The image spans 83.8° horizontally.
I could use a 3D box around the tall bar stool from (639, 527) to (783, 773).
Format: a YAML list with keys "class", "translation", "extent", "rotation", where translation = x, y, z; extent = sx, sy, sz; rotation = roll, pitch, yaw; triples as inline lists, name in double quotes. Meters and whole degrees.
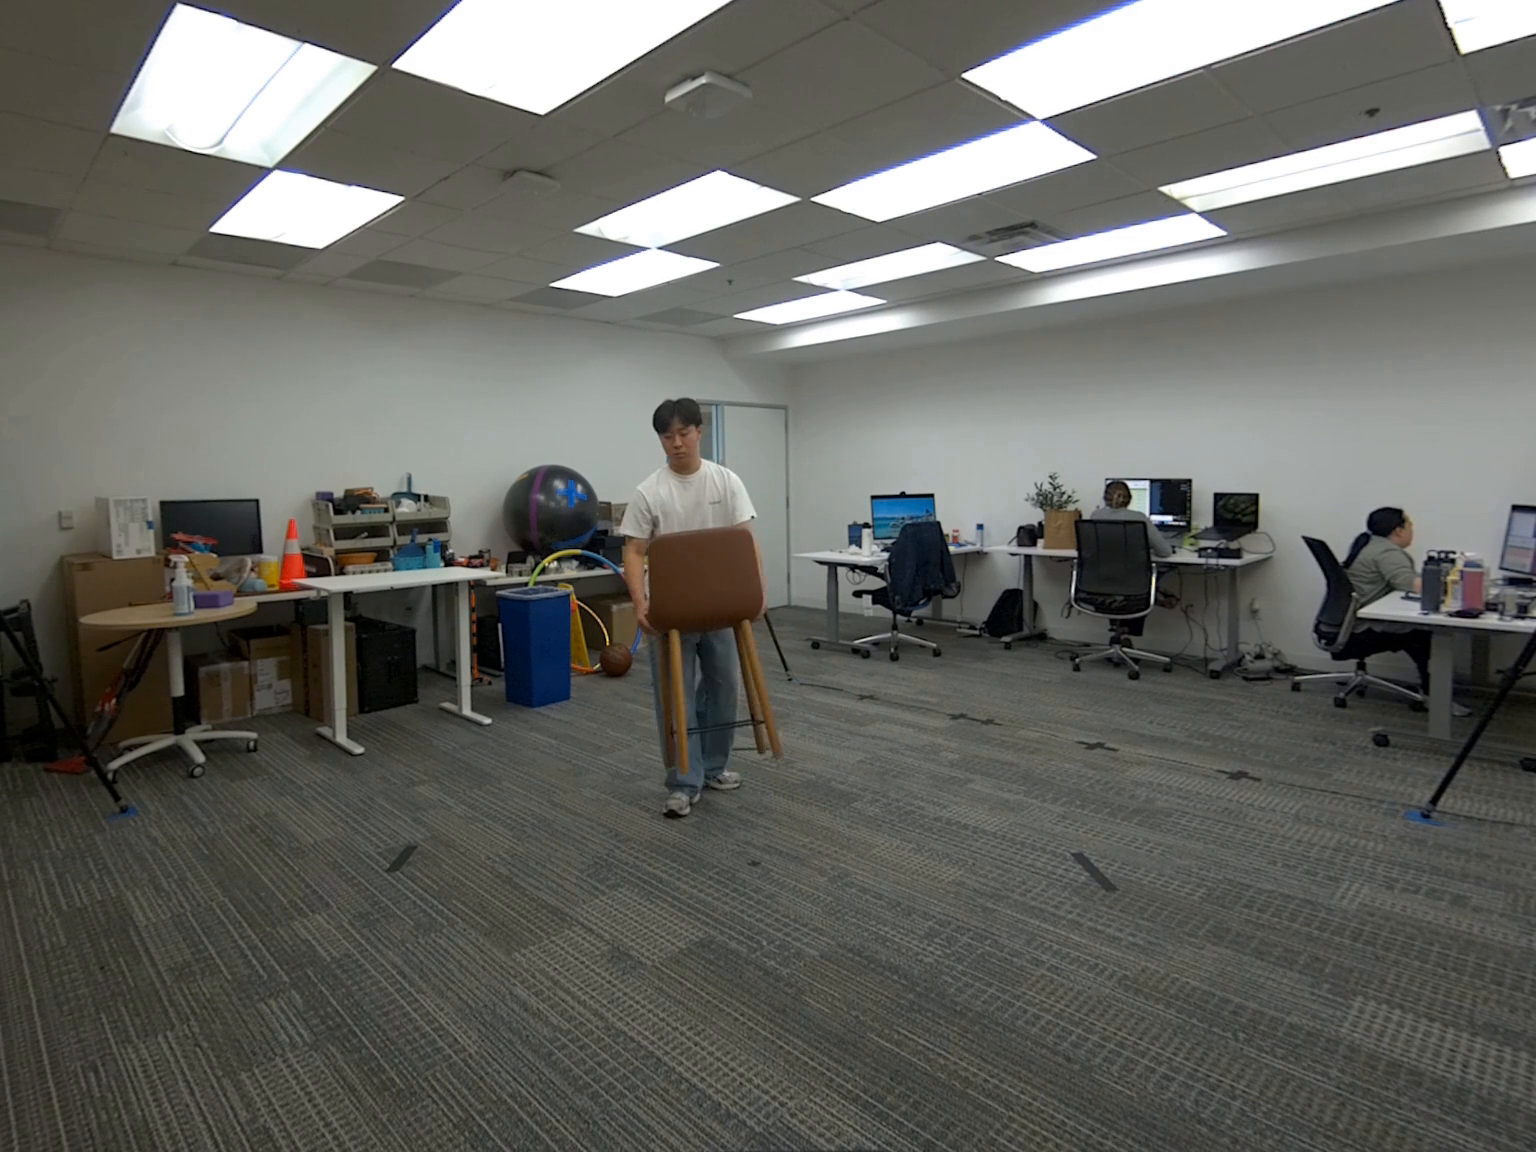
- class: "tall bar stool"
  translation: [-0.238, 0.304, 3.371]
  extent: [0.452, 0.899, 0.467]
  rotation: [-8, -9, -11]
